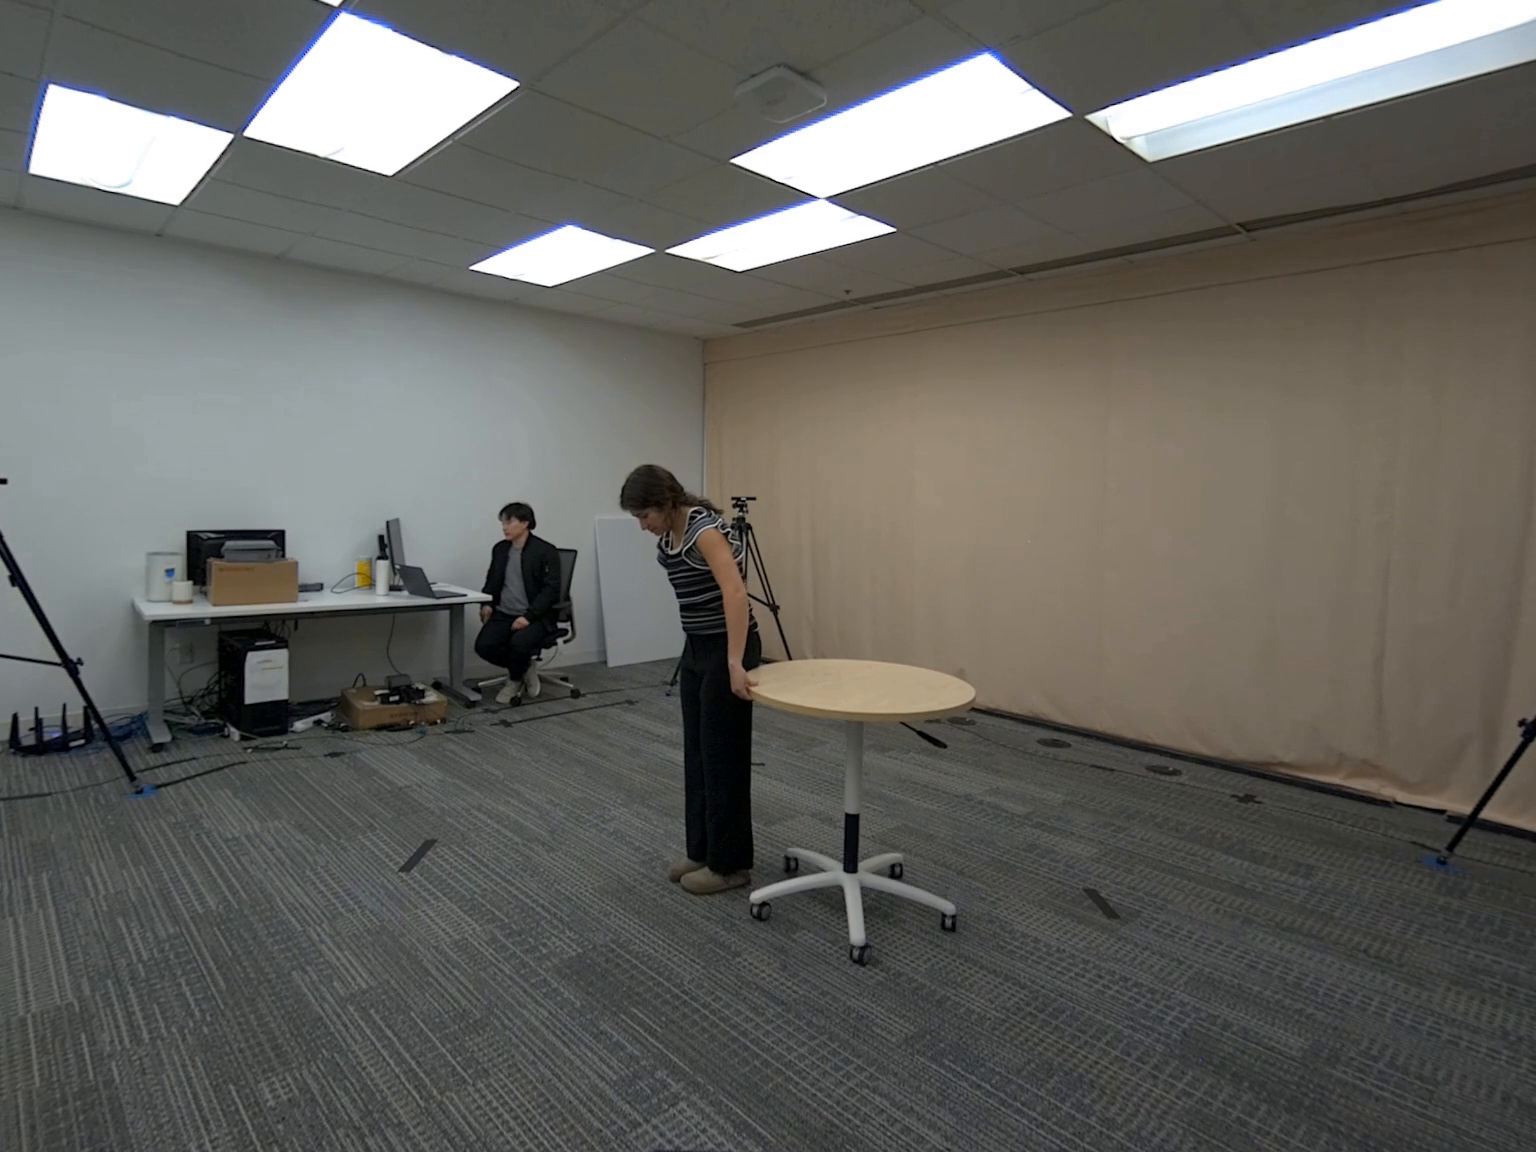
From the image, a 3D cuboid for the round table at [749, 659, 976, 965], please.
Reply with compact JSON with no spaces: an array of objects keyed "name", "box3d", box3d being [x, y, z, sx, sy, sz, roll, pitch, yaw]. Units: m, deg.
[{"name":"round table","box3d":[0.265,0.744,2.839,0.784,0.784,0.788,2,5,-2]}]
